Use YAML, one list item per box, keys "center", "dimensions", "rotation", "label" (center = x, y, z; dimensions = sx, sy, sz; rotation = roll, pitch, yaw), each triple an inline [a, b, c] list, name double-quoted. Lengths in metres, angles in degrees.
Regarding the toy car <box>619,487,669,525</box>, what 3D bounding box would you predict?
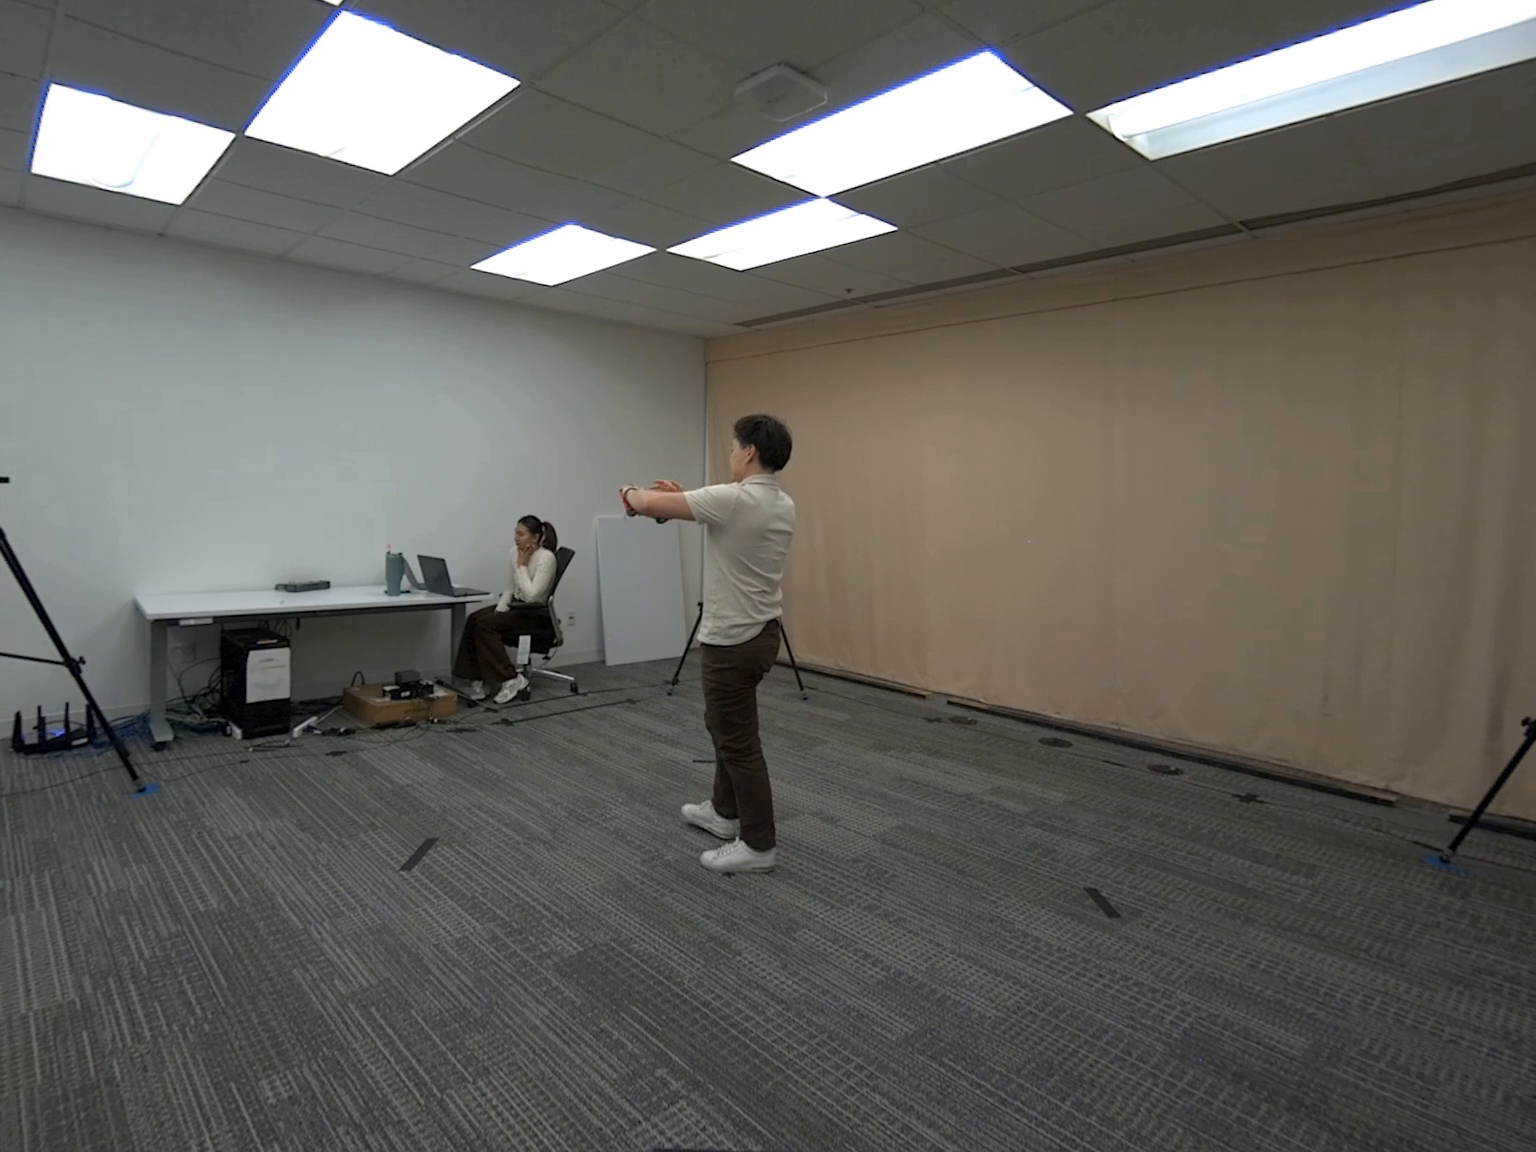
- center: [-0.469, -0.273, 3.319]
  dimensions: [0.248, 0.134, 0.083]
  rotation: [2, -42, -36]
  label: "toy car"
